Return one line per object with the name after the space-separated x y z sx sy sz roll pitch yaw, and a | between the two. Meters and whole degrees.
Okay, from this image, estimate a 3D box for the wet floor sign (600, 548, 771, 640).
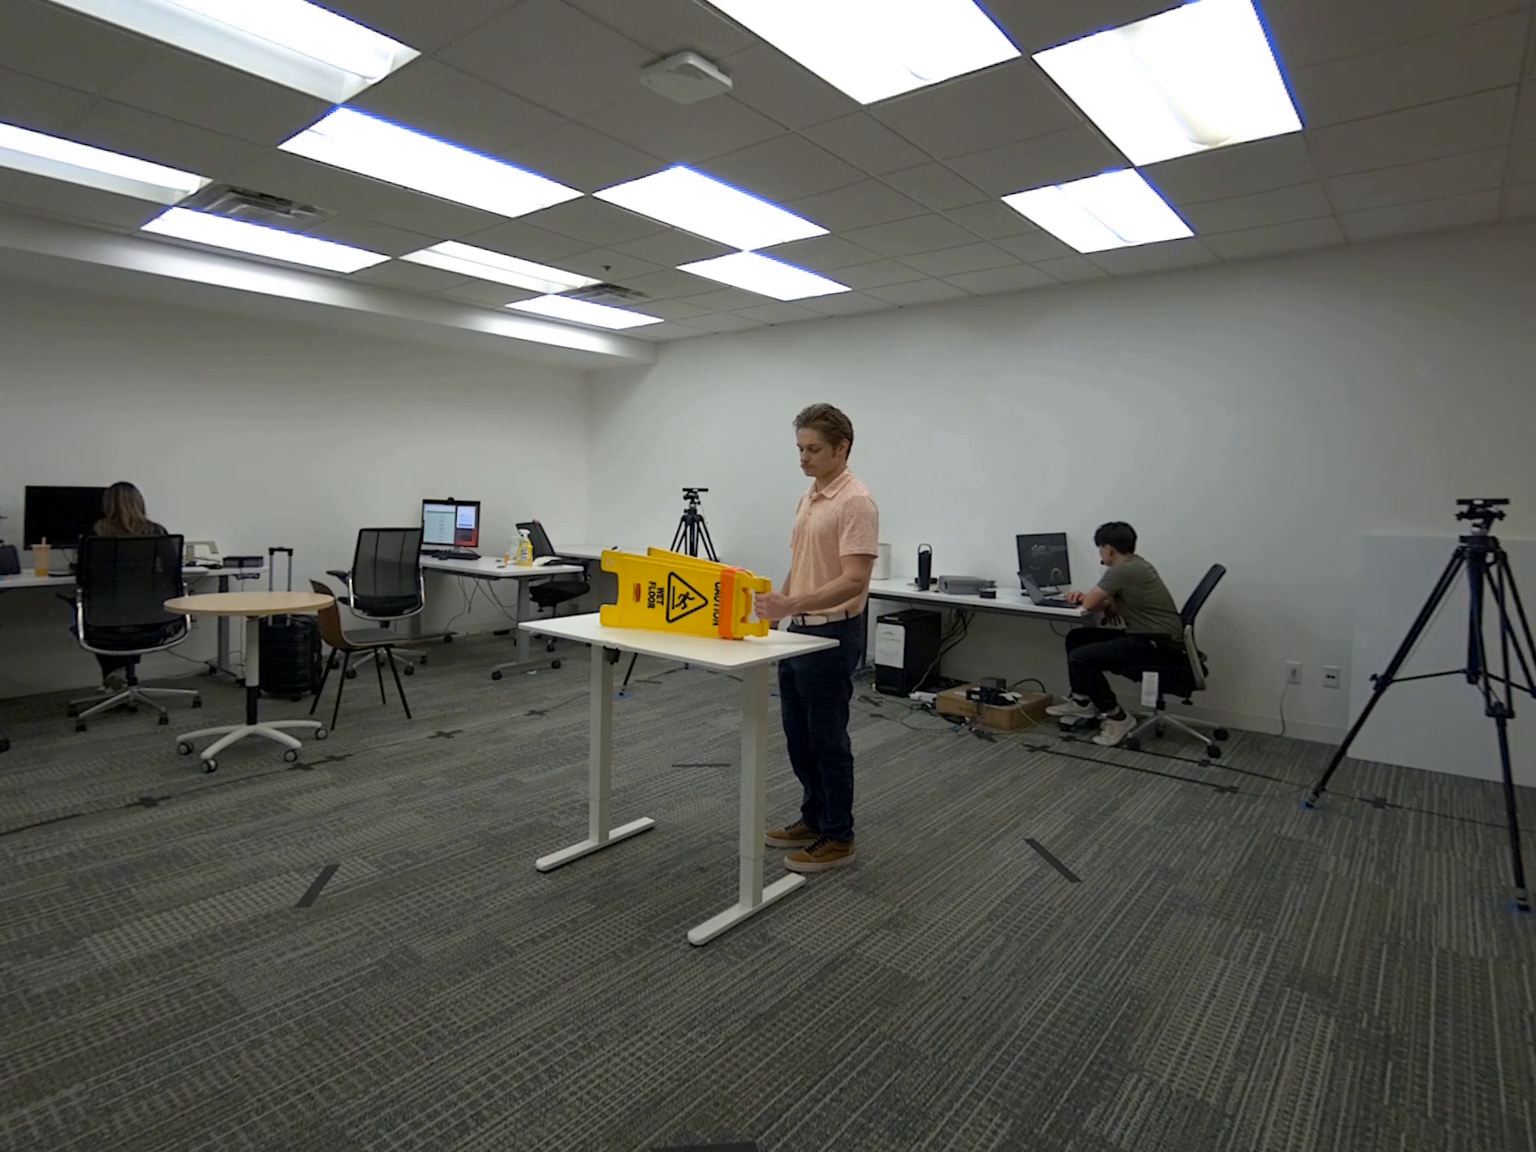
-0.279 0.069 3.001 0.668 0.281 0.281 7 7 36 | wet floor sign
